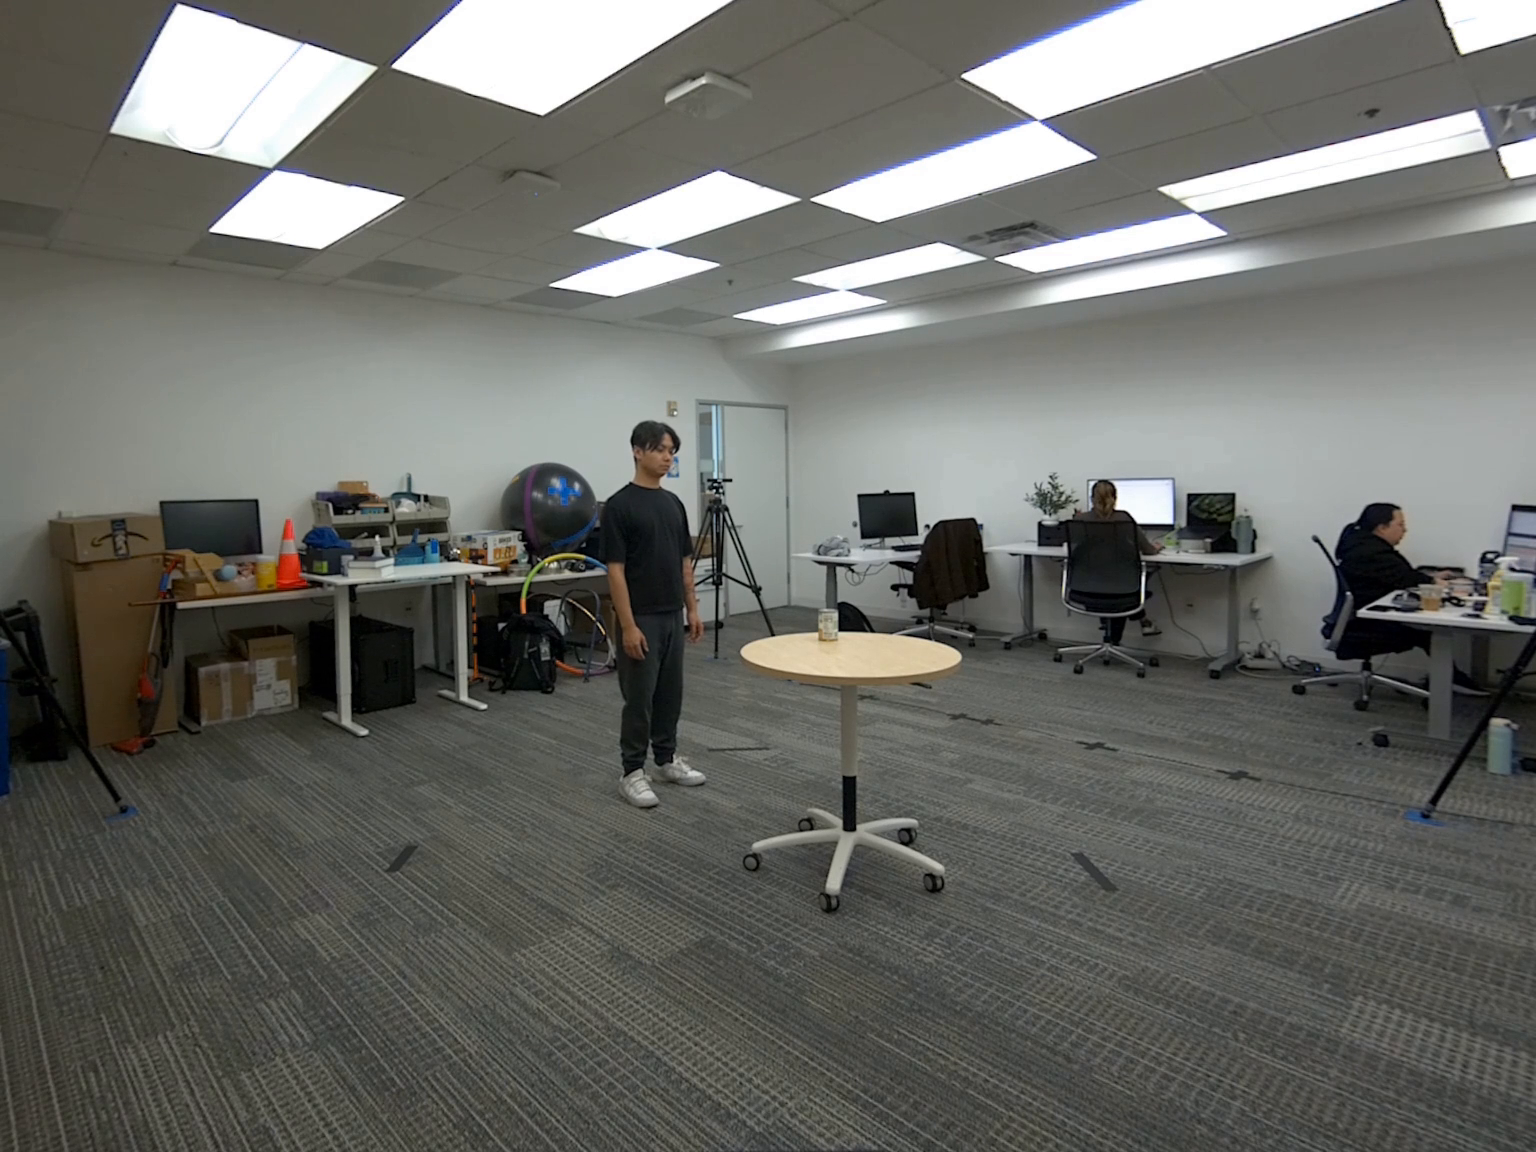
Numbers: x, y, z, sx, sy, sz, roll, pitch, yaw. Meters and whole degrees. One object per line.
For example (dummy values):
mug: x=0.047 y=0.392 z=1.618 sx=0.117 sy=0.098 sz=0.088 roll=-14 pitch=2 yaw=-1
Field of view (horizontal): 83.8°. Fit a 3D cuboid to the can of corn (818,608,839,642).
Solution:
can of corn: x=0.230 y=0.187 z=3.232 sx=0.074 sy=0.110 sz=0.074 roll=-1 pitch=5 yaw=-2
